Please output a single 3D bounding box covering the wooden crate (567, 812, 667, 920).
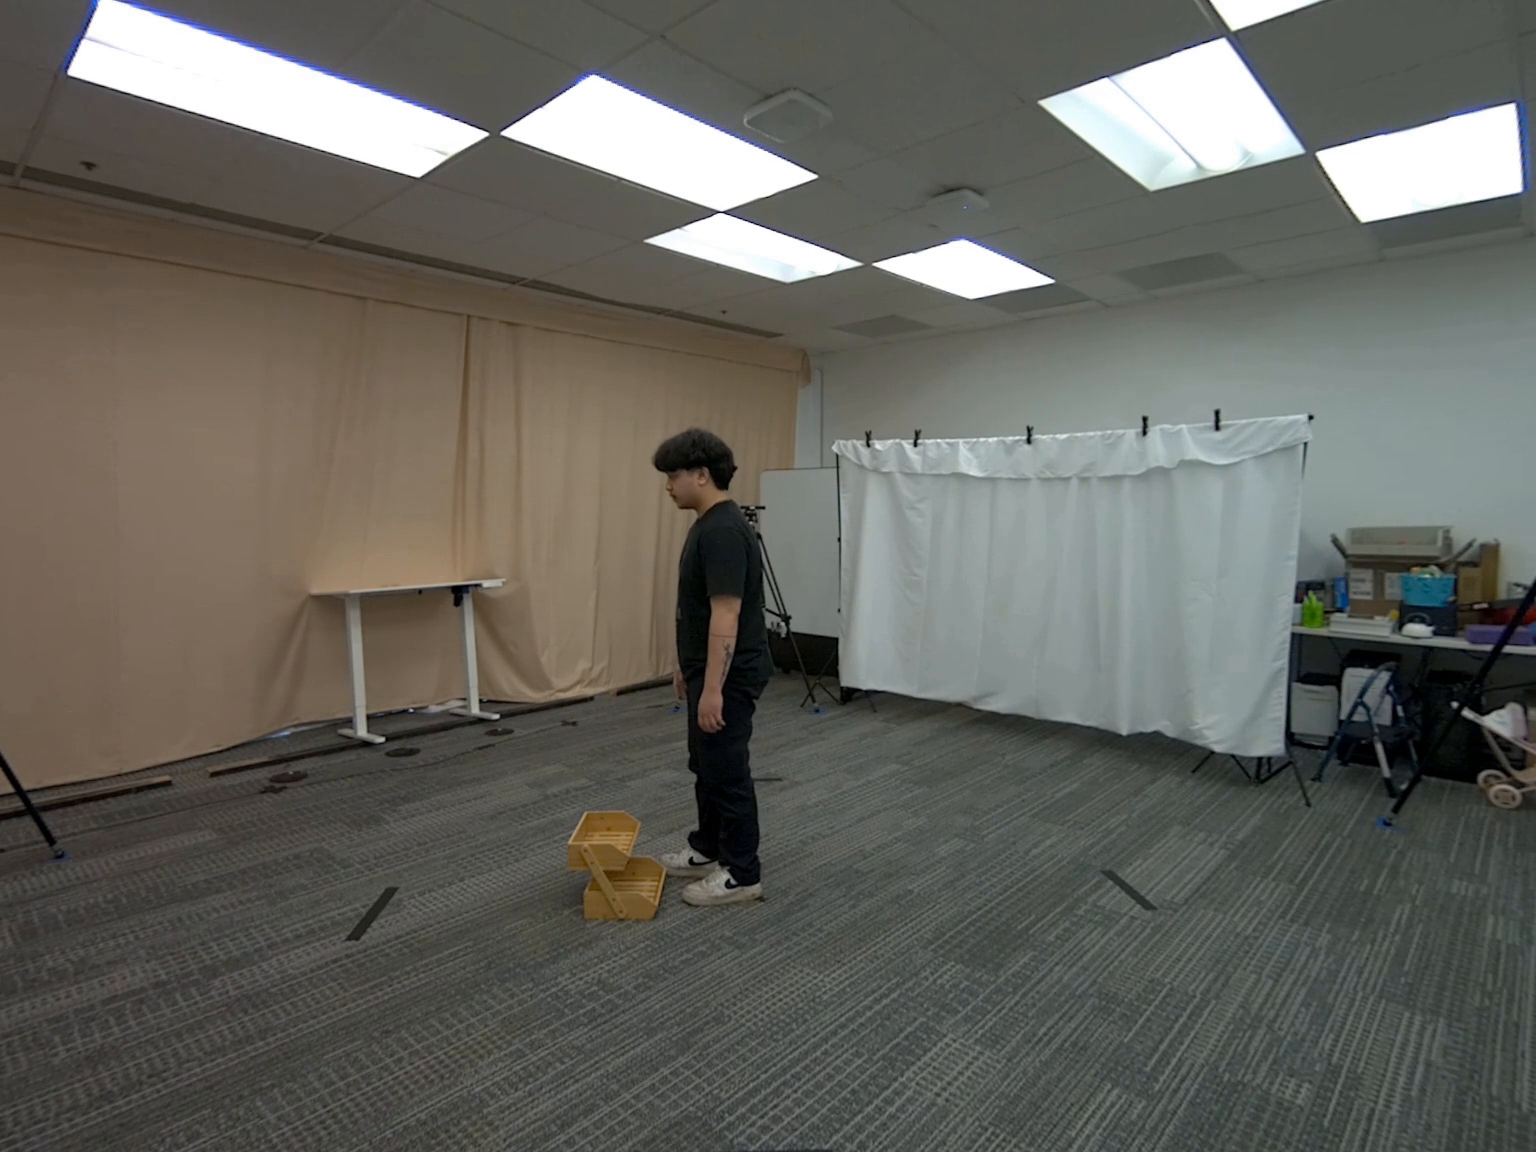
[{"bbox_3d":[-0.518,1.017,2.989,0.302,0.273,0.325,0,4,0],"label":"wooden crate"}]
